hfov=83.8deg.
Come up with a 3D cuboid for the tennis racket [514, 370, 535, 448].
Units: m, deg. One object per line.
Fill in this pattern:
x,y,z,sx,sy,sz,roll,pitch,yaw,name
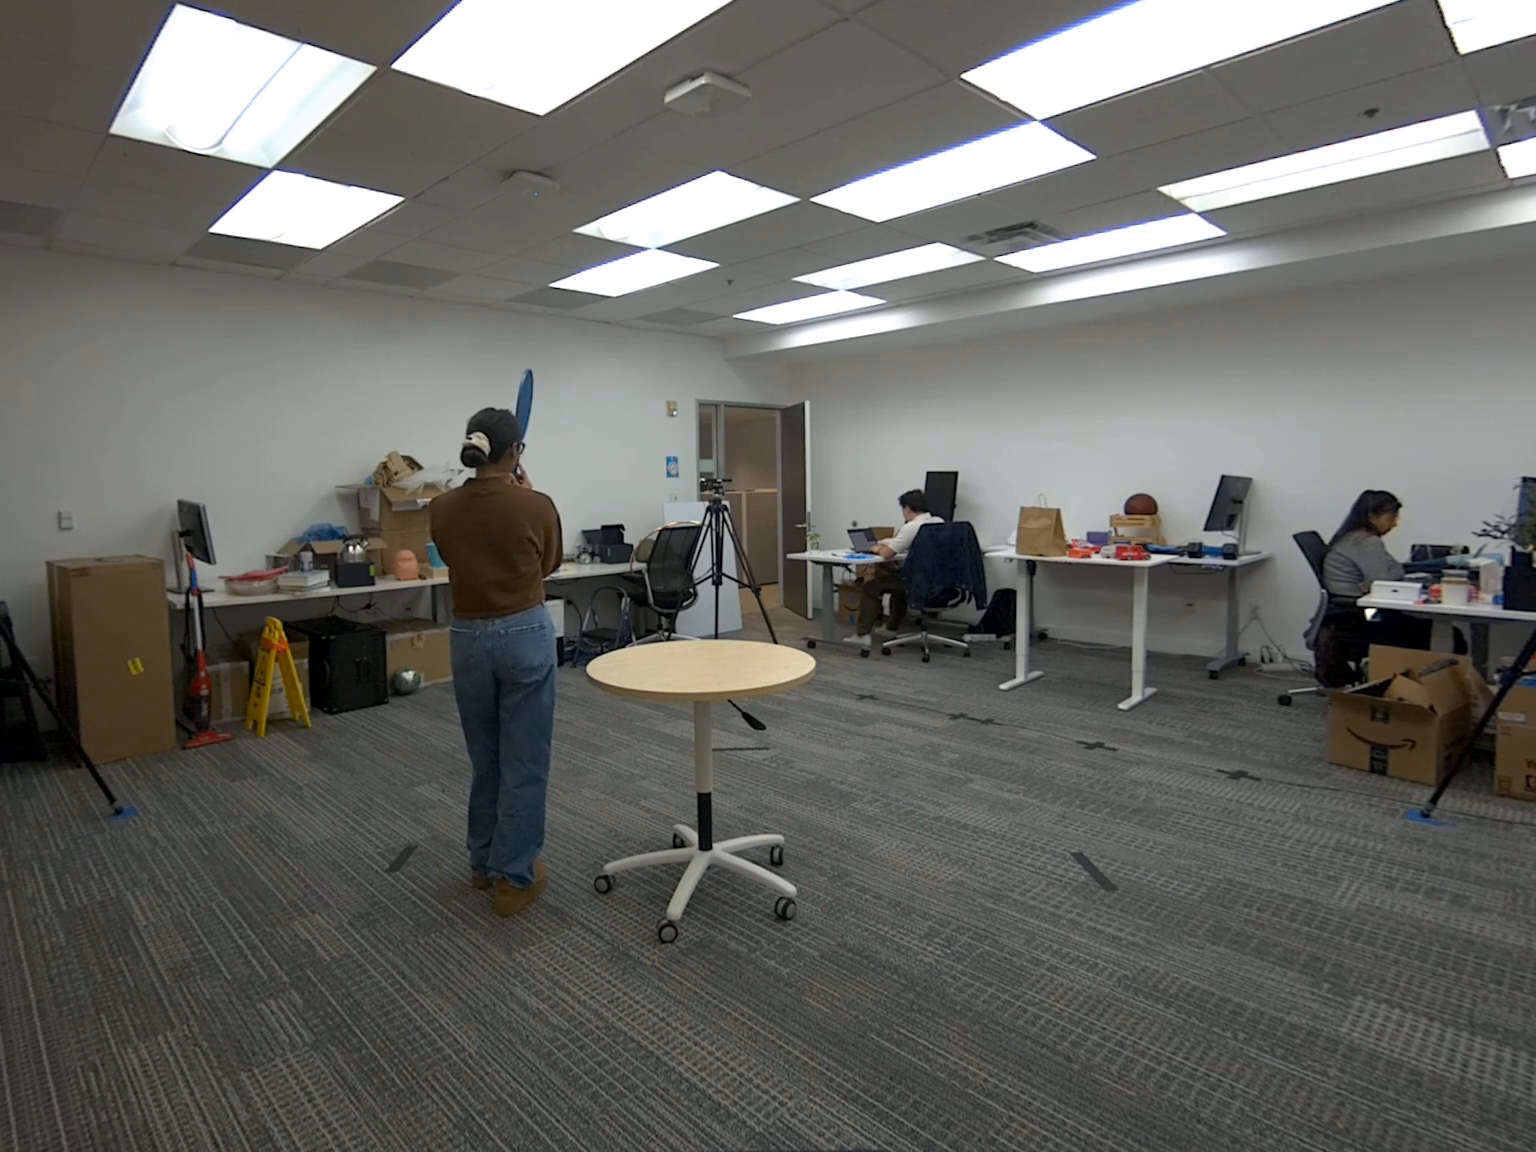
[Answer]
-0.877,-0.527,3.034,0.031,0.434,0.213,8,-4,-4,tennis racket
